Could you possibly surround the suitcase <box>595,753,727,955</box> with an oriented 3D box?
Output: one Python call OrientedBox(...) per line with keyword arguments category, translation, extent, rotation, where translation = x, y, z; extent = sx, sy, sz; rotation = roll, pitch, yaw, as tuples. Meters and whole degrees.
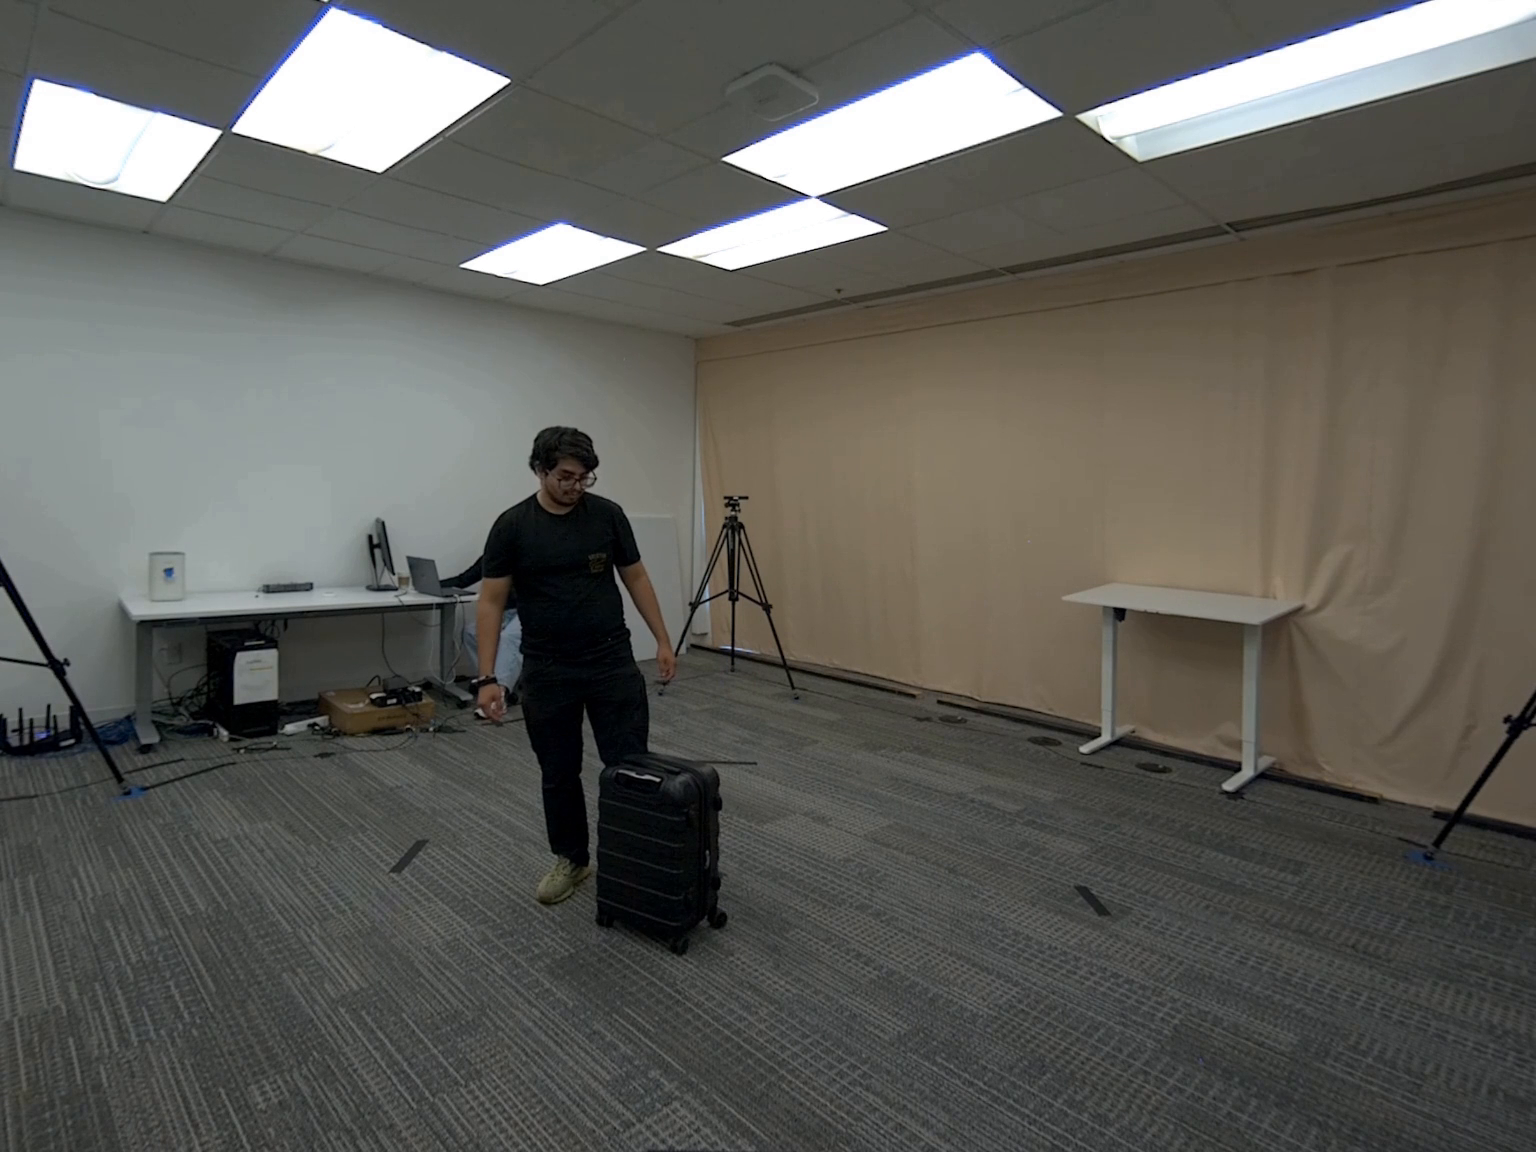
OrientedBox(category="suitcase", translation=(-0.355, 0.859, 2.696), extent=(0.383, 0.548, 0.243), rotation=(2, 4, 30))
